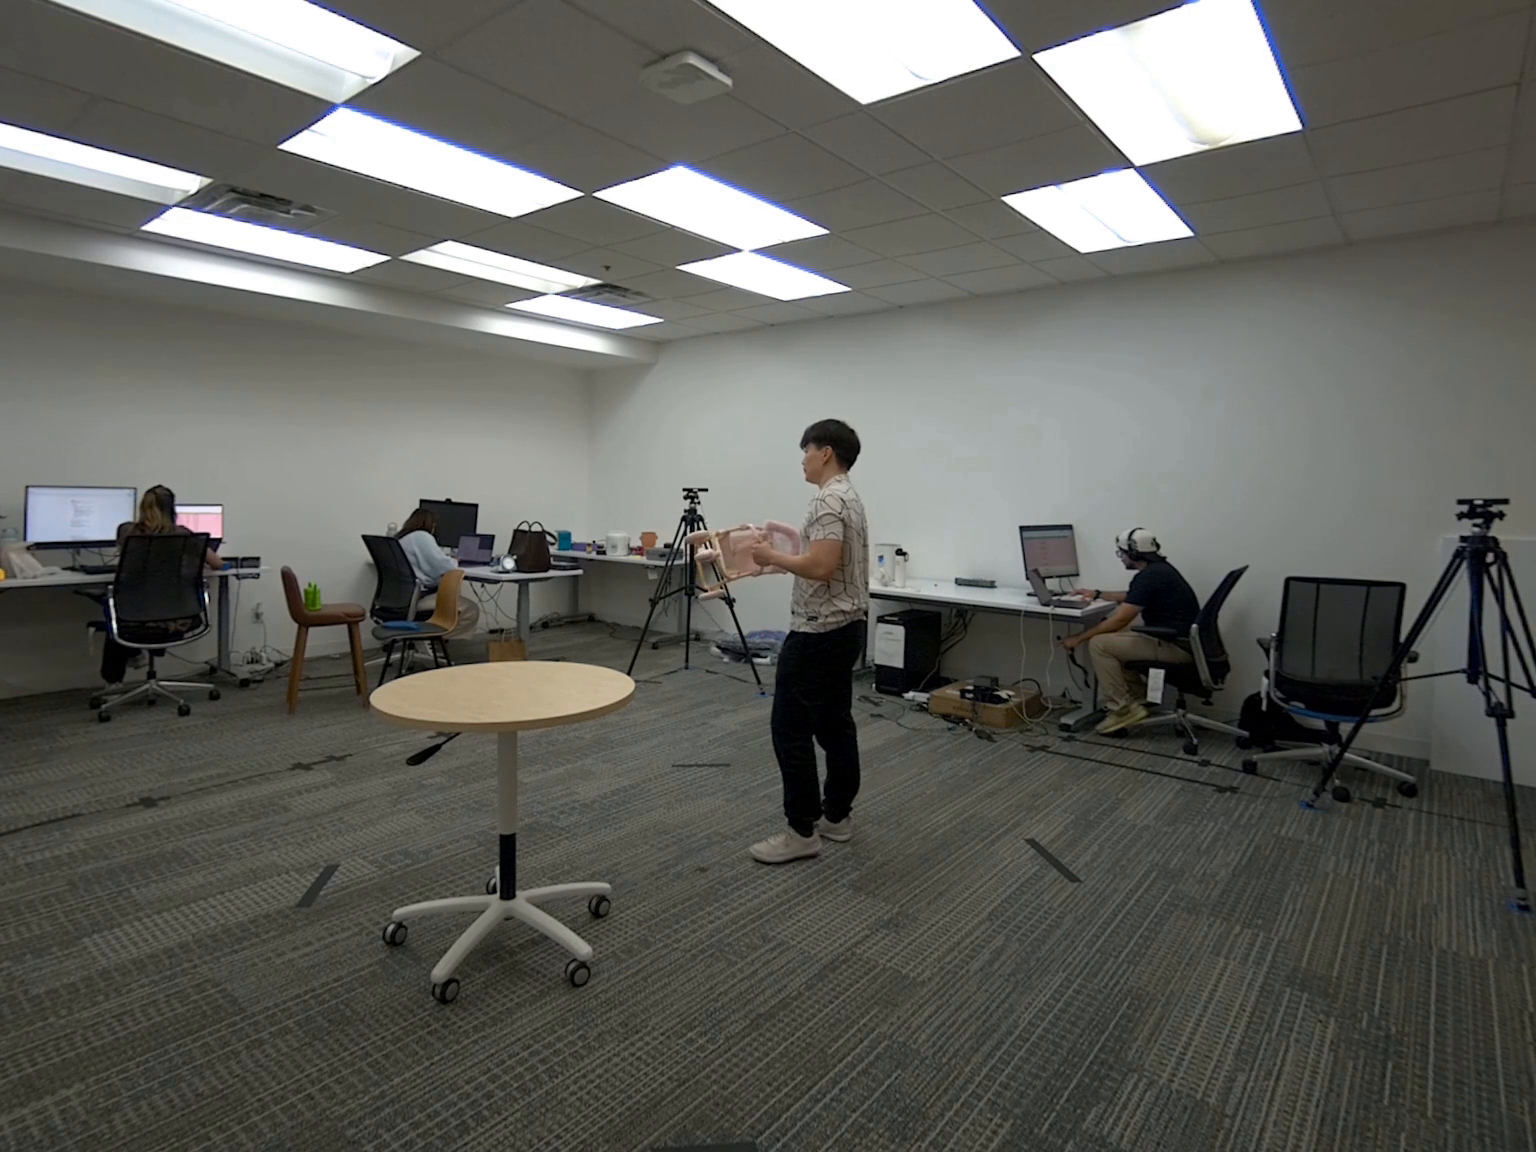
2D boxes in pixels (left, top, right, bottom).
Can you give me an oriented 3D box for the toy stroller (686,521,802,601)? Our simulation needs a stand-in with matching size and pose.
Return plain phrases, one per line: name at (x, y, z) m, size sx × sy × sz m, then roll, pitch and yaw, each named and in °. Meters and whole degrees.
toy stroller at (-0.097, -0.098, 3.464) m, size 0.525 × 0.286 × 0.342 m, roll -10°, pitch -12°, yaw -22°
